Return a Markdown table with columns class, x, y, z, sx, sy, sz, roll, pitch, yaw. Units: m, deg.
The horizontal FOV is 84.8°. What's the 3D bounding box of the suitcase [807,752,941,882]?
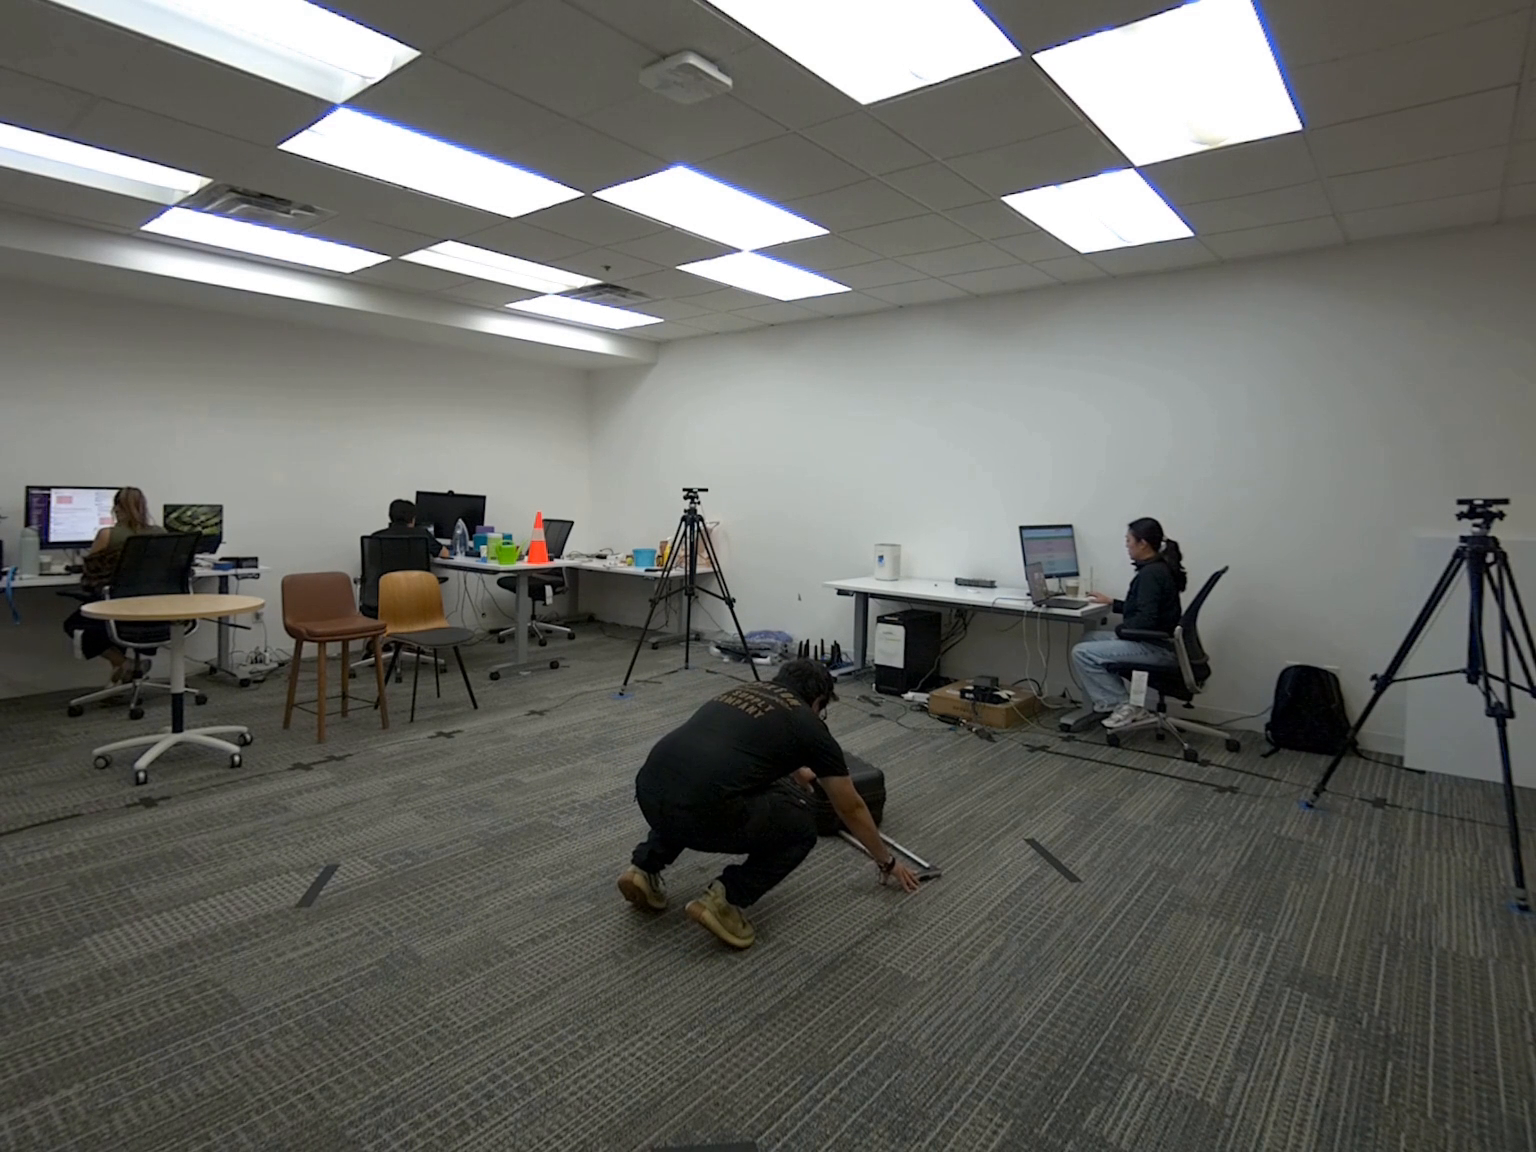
| class | x | y | z | sx | sy | sz | roll | pitch | yaw |
| --- | --- | --- | --- | --- | --- | --- | --- | --- | --- |
| suitcase | 0.322 | 0.914 | 3.505 | 0.374 | 0.256 | 1.006 | -1 | 4 | -28 |
